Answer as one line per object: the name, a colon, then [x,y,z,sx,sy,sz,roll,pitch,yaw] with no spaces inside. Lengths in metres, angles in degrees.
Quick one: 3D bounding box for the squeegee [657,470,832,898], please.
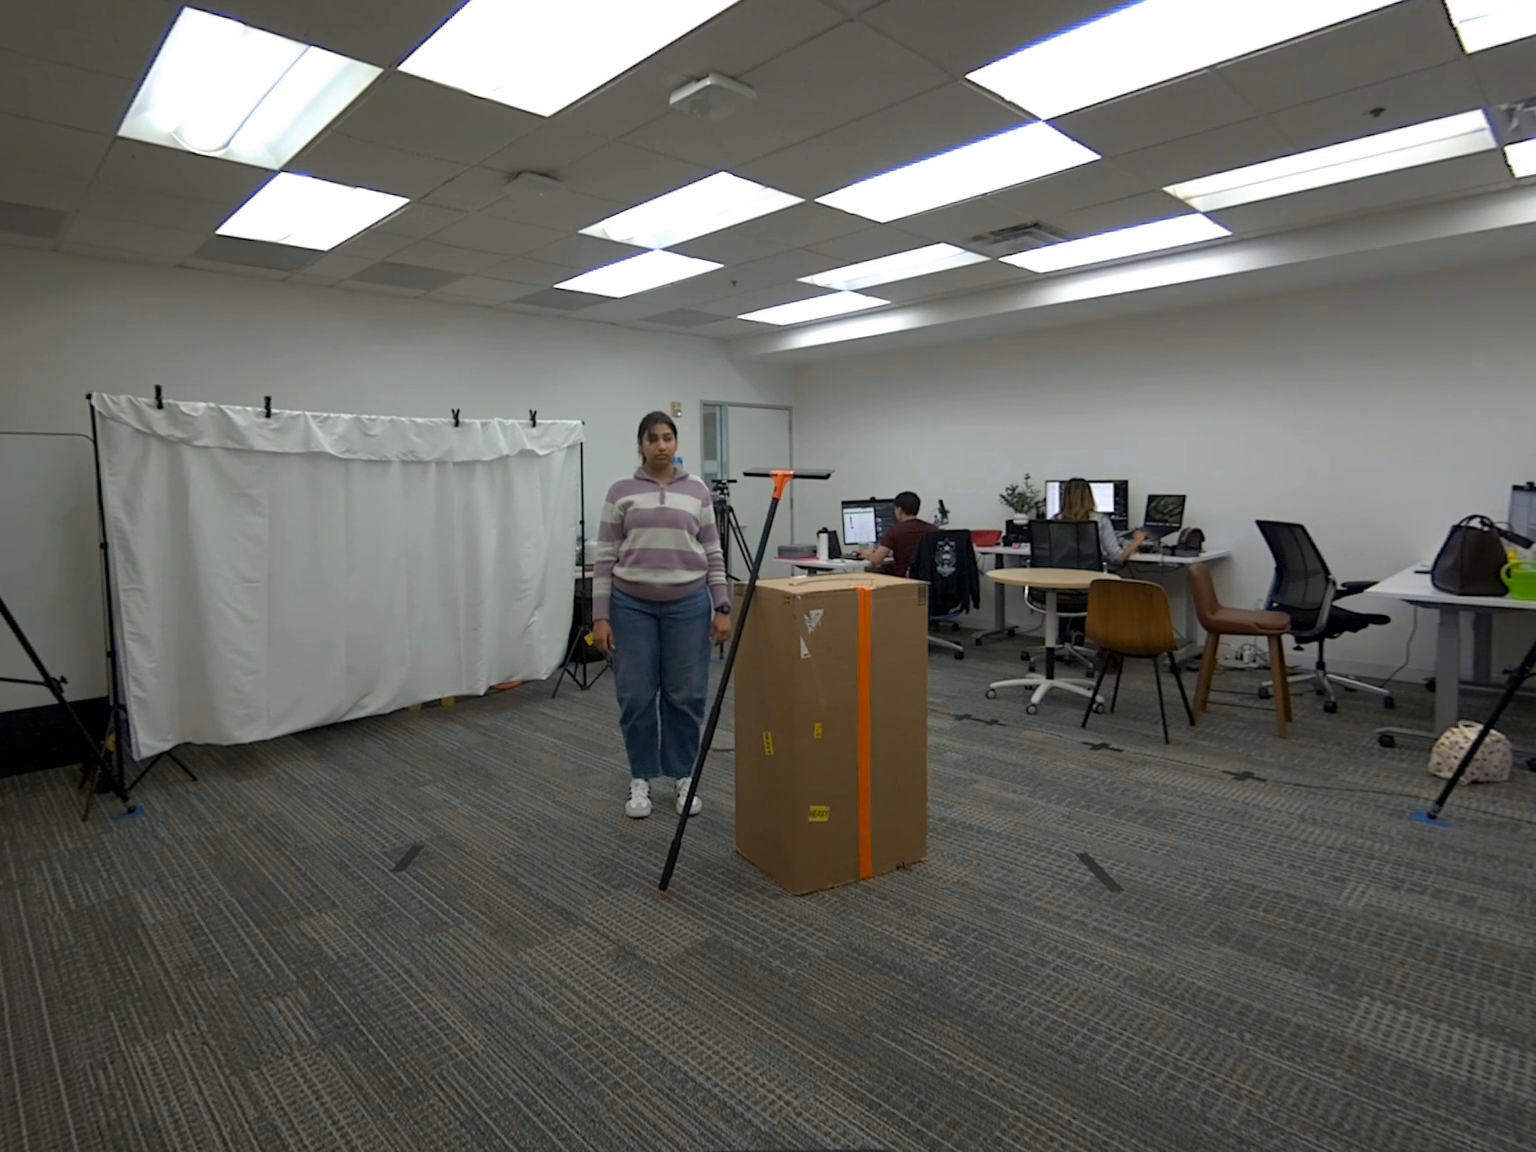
squeegee: [-0.165,0.334,2.975,0.051,1.546,0.451,25,-12,-40]
